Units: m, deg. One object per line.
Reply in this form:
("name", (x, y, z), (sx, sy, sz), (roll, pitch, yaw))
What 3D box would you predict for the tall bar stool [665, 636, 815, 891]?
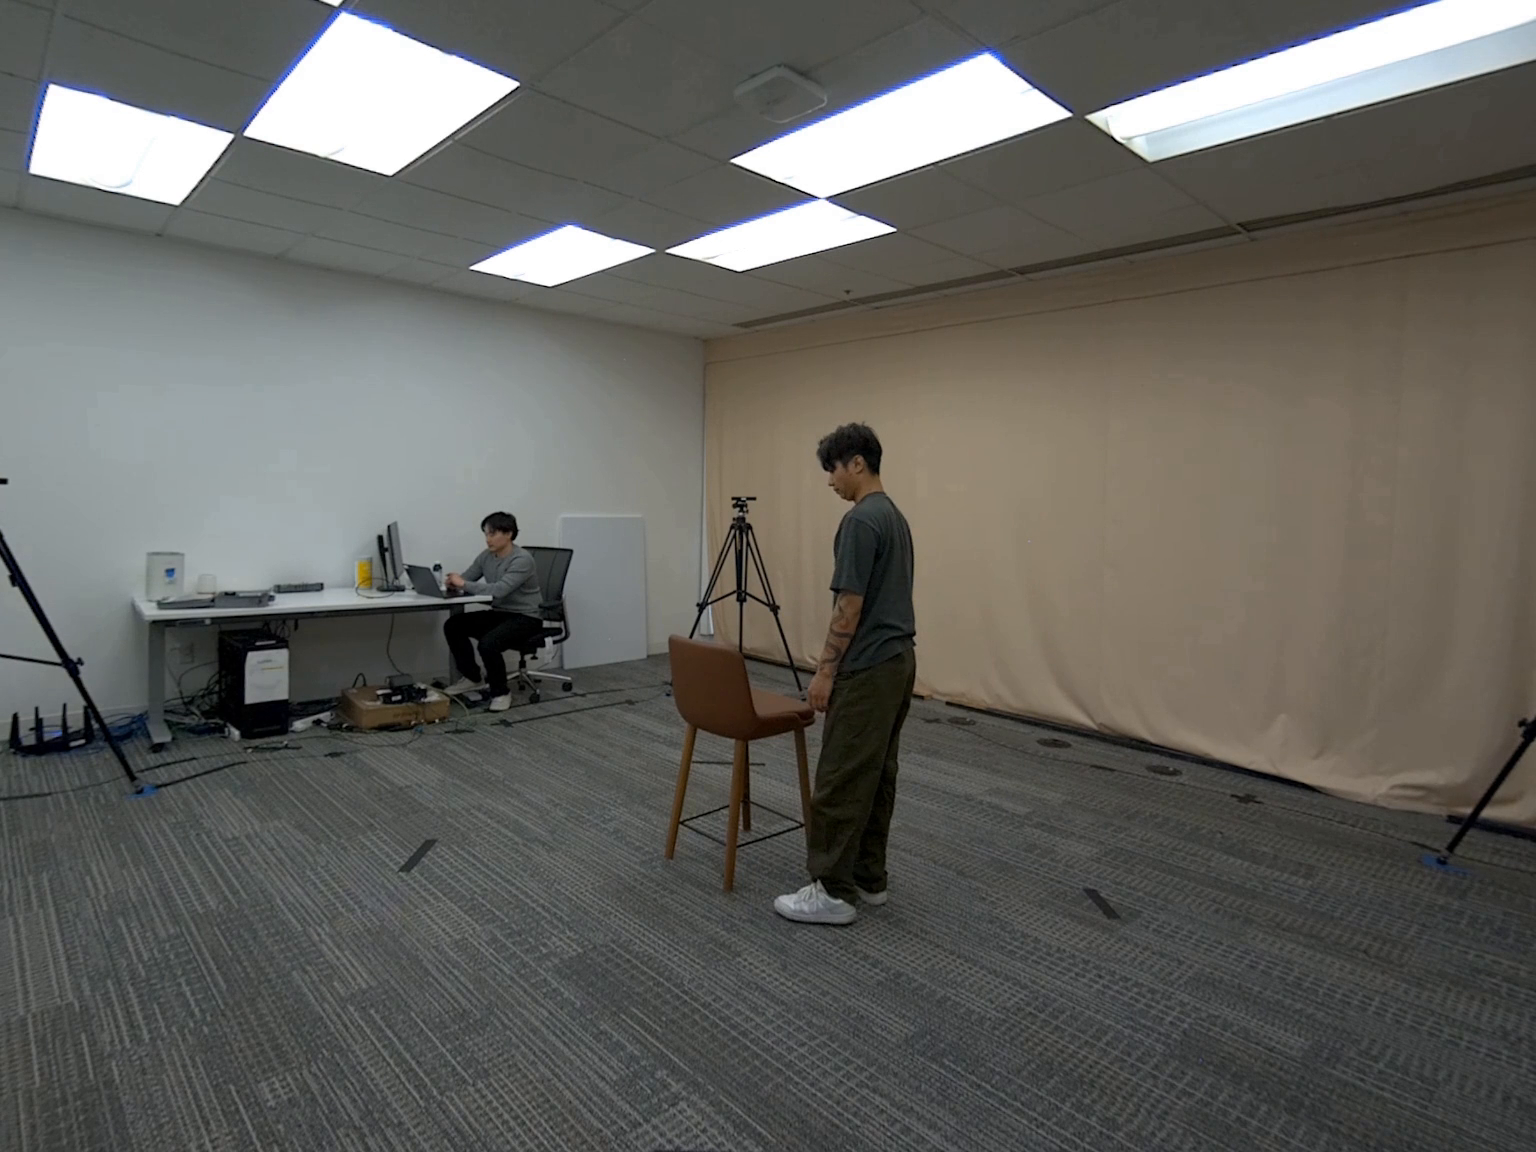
("tall bar stool", (-0.110, 0.659, 3.230), (0.457, 0.887, 0.468), (-4, 5, -42))
